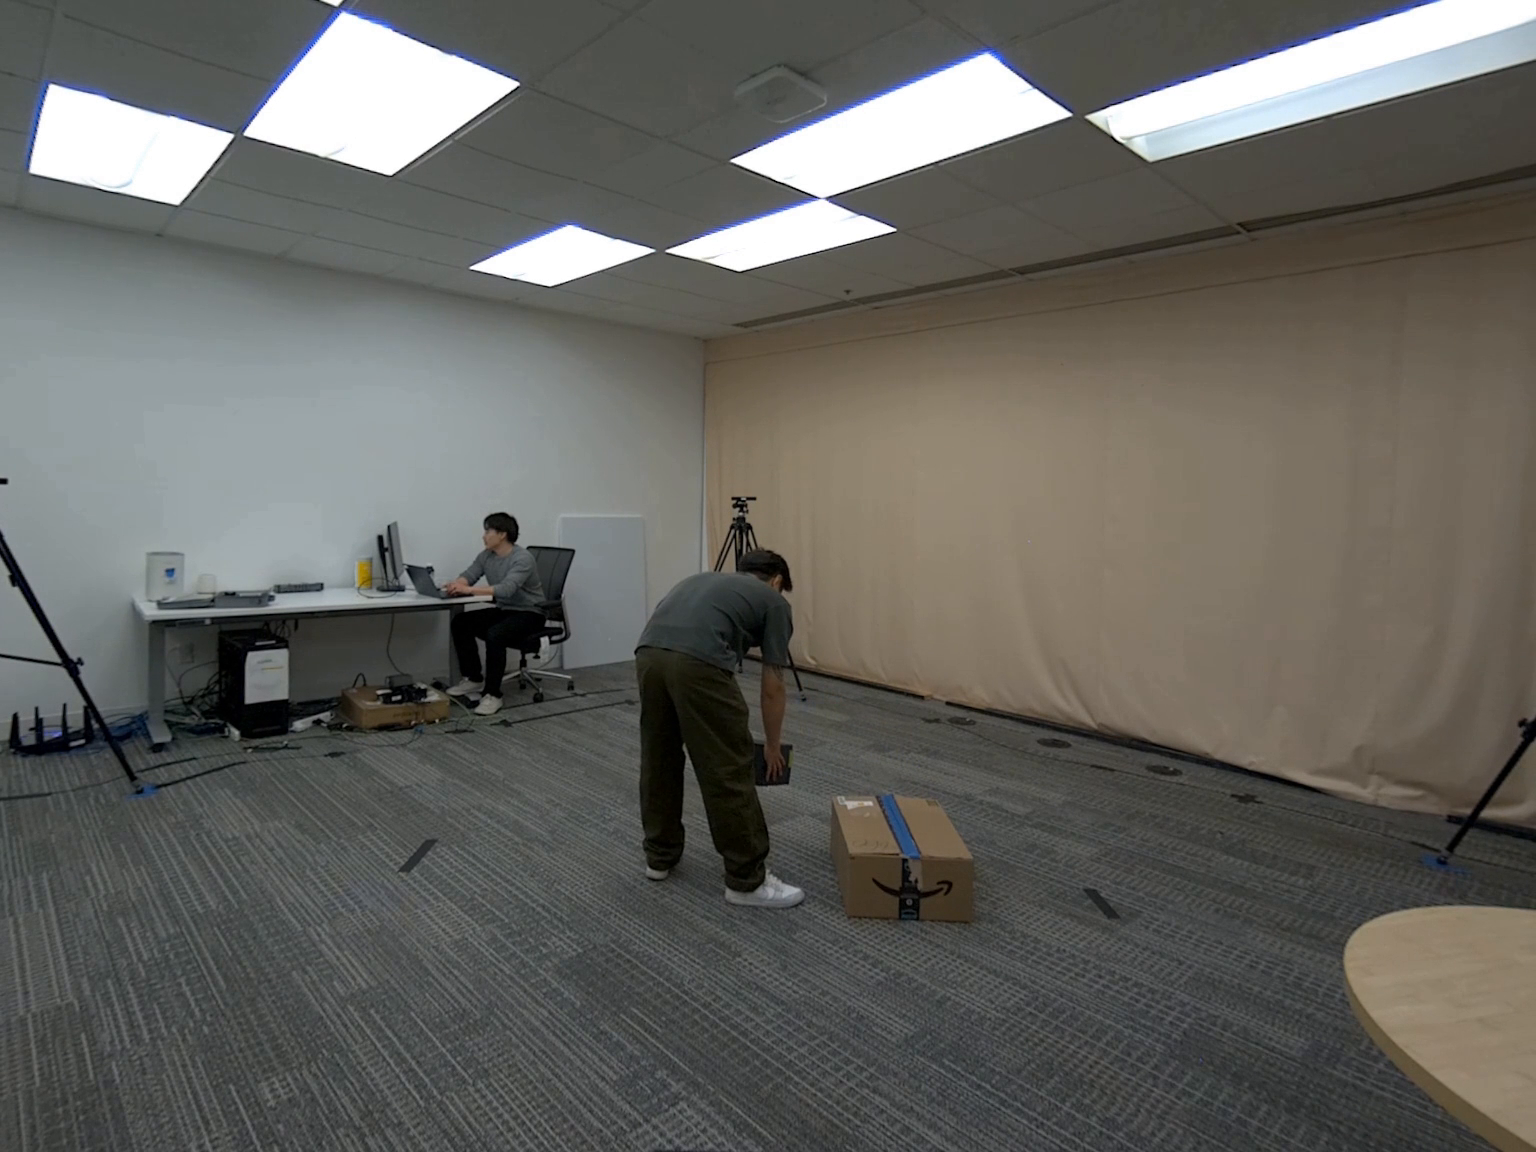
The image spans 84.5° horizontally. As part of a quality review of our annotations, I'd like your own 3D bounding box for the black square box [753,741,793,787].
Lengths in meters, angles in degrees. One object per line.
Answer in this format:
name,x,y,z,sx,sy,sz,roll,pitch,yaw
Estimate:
black square box,-0.057,0.730,3.319,0.233,0.157,0.211,1,-9,32
